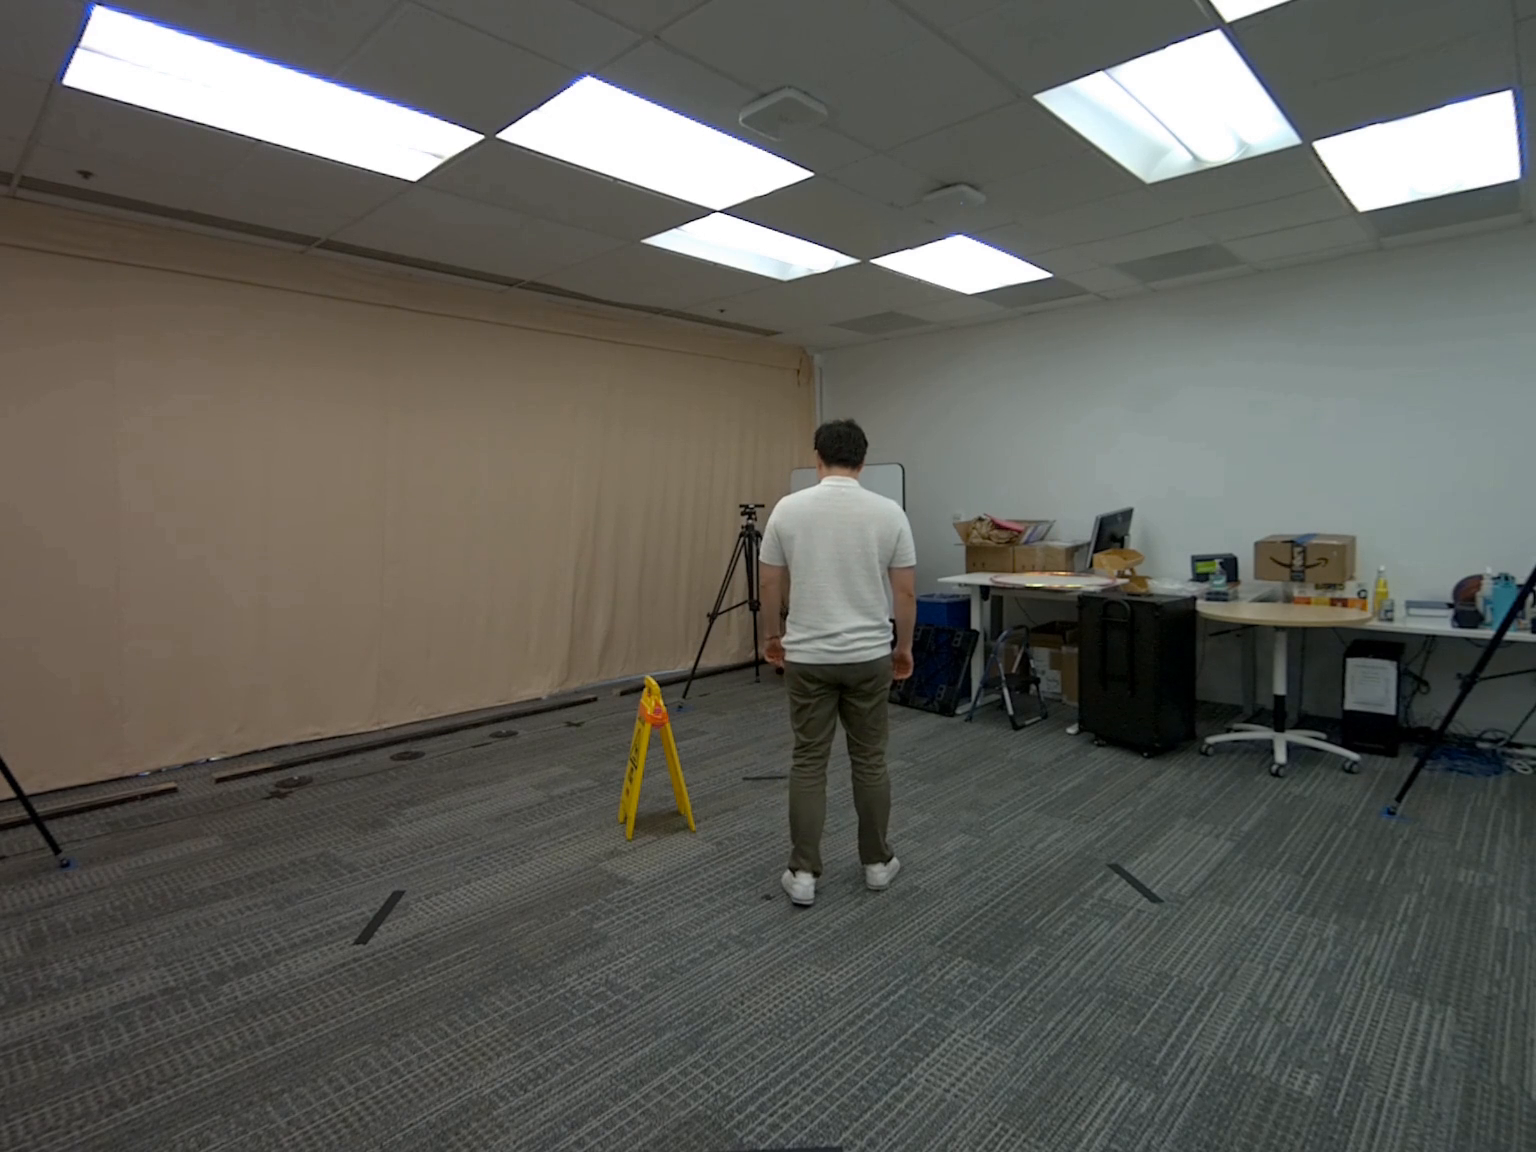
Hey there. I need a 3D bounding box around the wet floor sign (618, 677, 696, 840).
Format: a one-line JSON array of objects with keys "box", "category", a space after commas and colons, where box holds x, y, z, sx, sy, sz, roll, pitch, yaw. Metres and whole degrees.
[{"box": [-0.500, 0.767, 3.676, 0.285, 0.645, 0.288, -2, 3, -18], "category": "wet floor sign"}]
